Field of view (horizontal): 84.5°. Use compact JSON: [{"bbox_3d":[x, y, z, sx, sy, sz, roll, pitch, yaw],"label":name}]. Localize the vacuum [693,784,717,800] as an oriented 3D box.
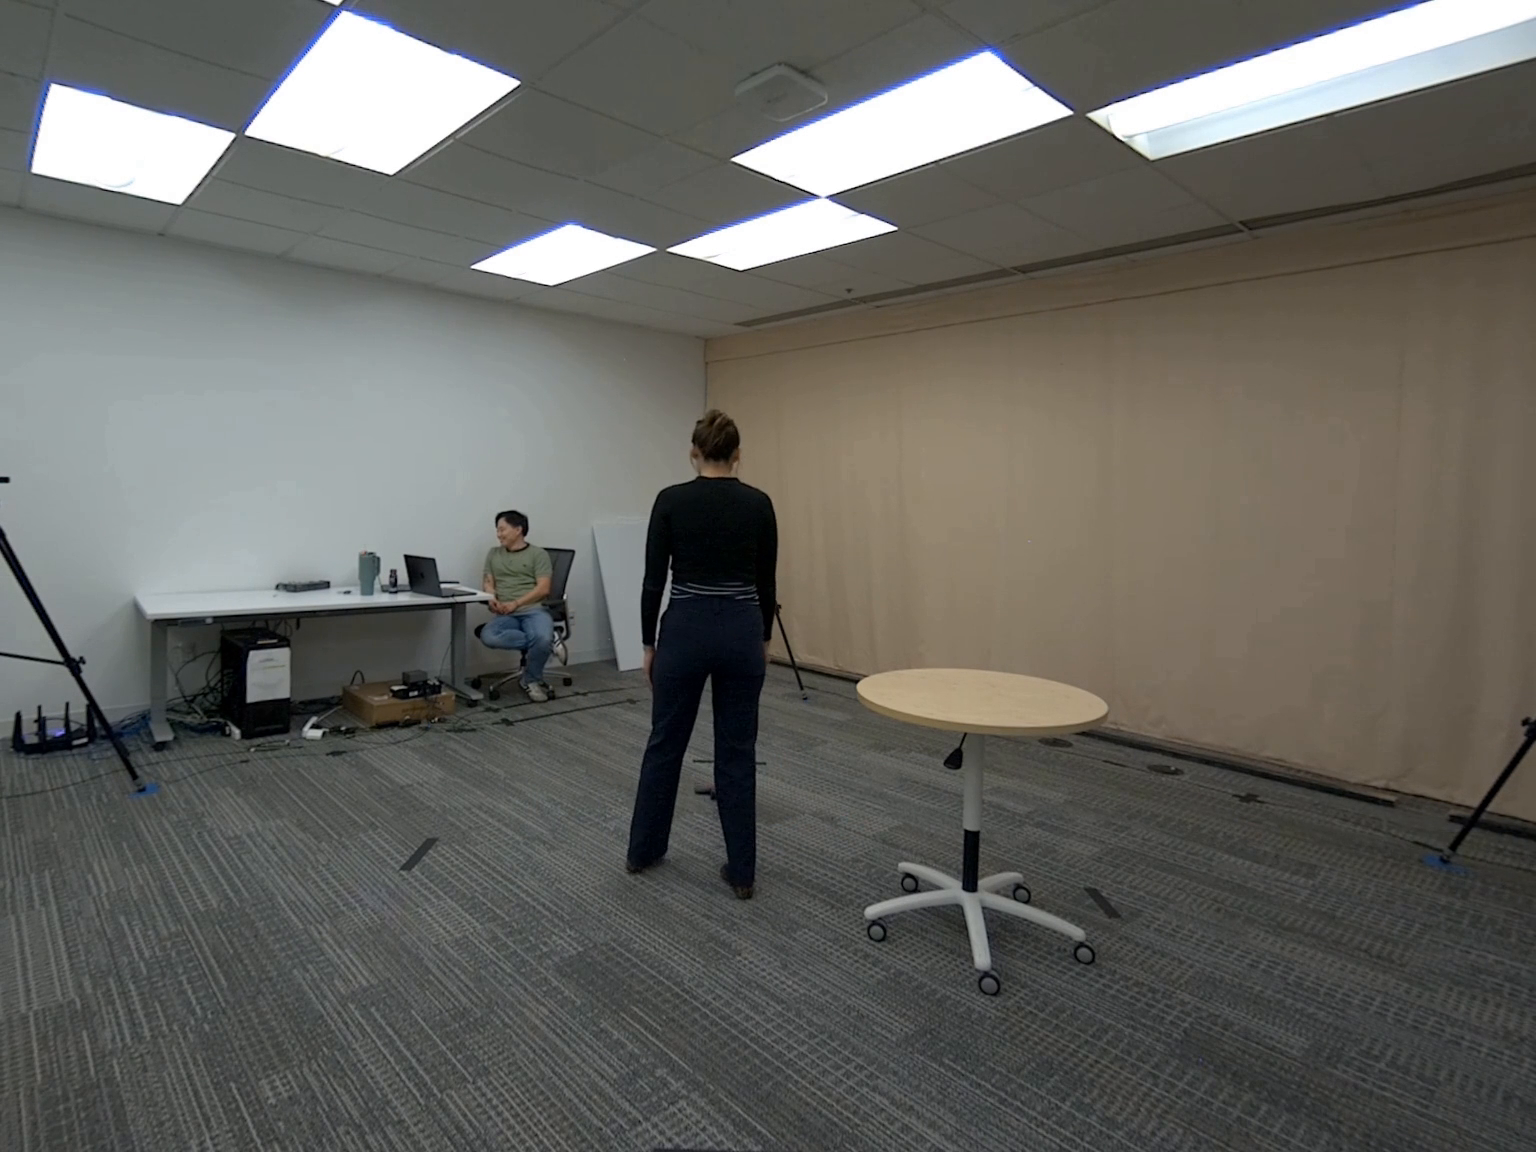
[{"bbox_3d":[-0.124,0.673,3.577,0.250,0.148,1.032,1,-42,-12],"label":"vacuum"}]
